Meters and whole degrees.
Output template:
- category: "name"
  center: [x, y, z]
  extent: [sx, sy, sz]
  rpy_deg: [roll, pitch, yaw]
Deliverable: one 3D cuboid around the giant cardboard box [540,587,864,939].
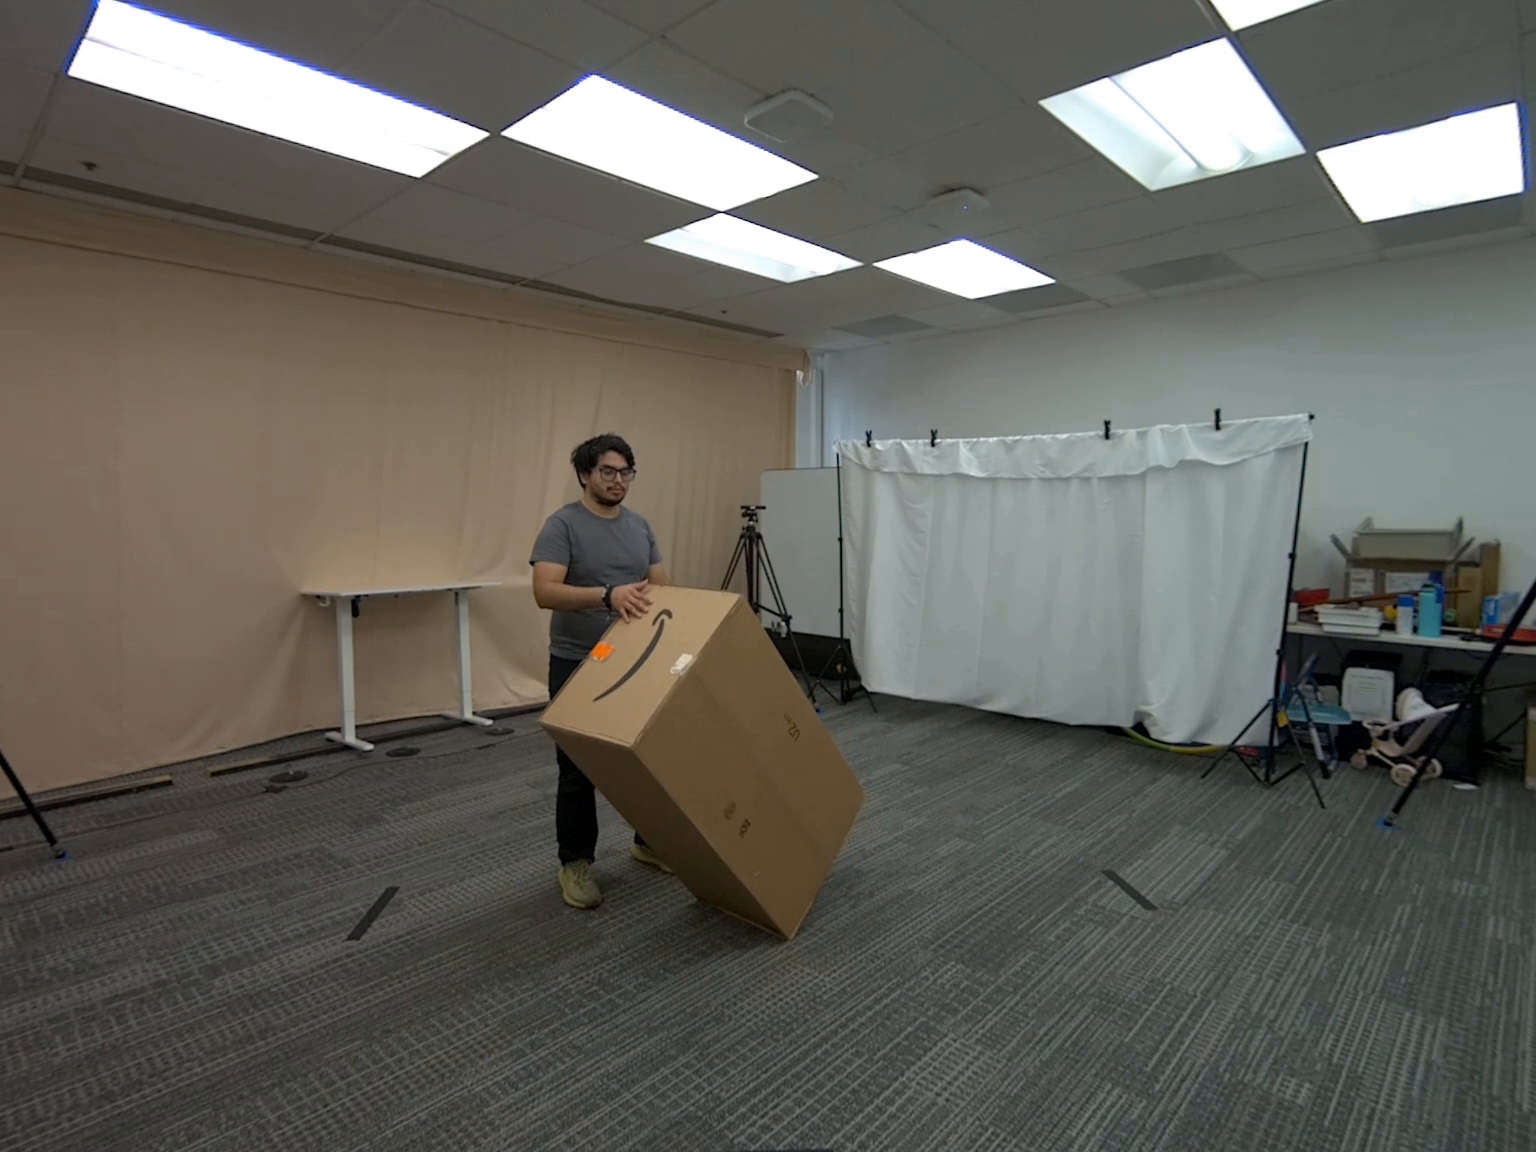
- category: "giant cardboard box"
  center: [-0.162, 0.601, 2.723]
  extent: [0.440, 0.996, 0.575]
  rpy_deg: [2, 45, 42]
